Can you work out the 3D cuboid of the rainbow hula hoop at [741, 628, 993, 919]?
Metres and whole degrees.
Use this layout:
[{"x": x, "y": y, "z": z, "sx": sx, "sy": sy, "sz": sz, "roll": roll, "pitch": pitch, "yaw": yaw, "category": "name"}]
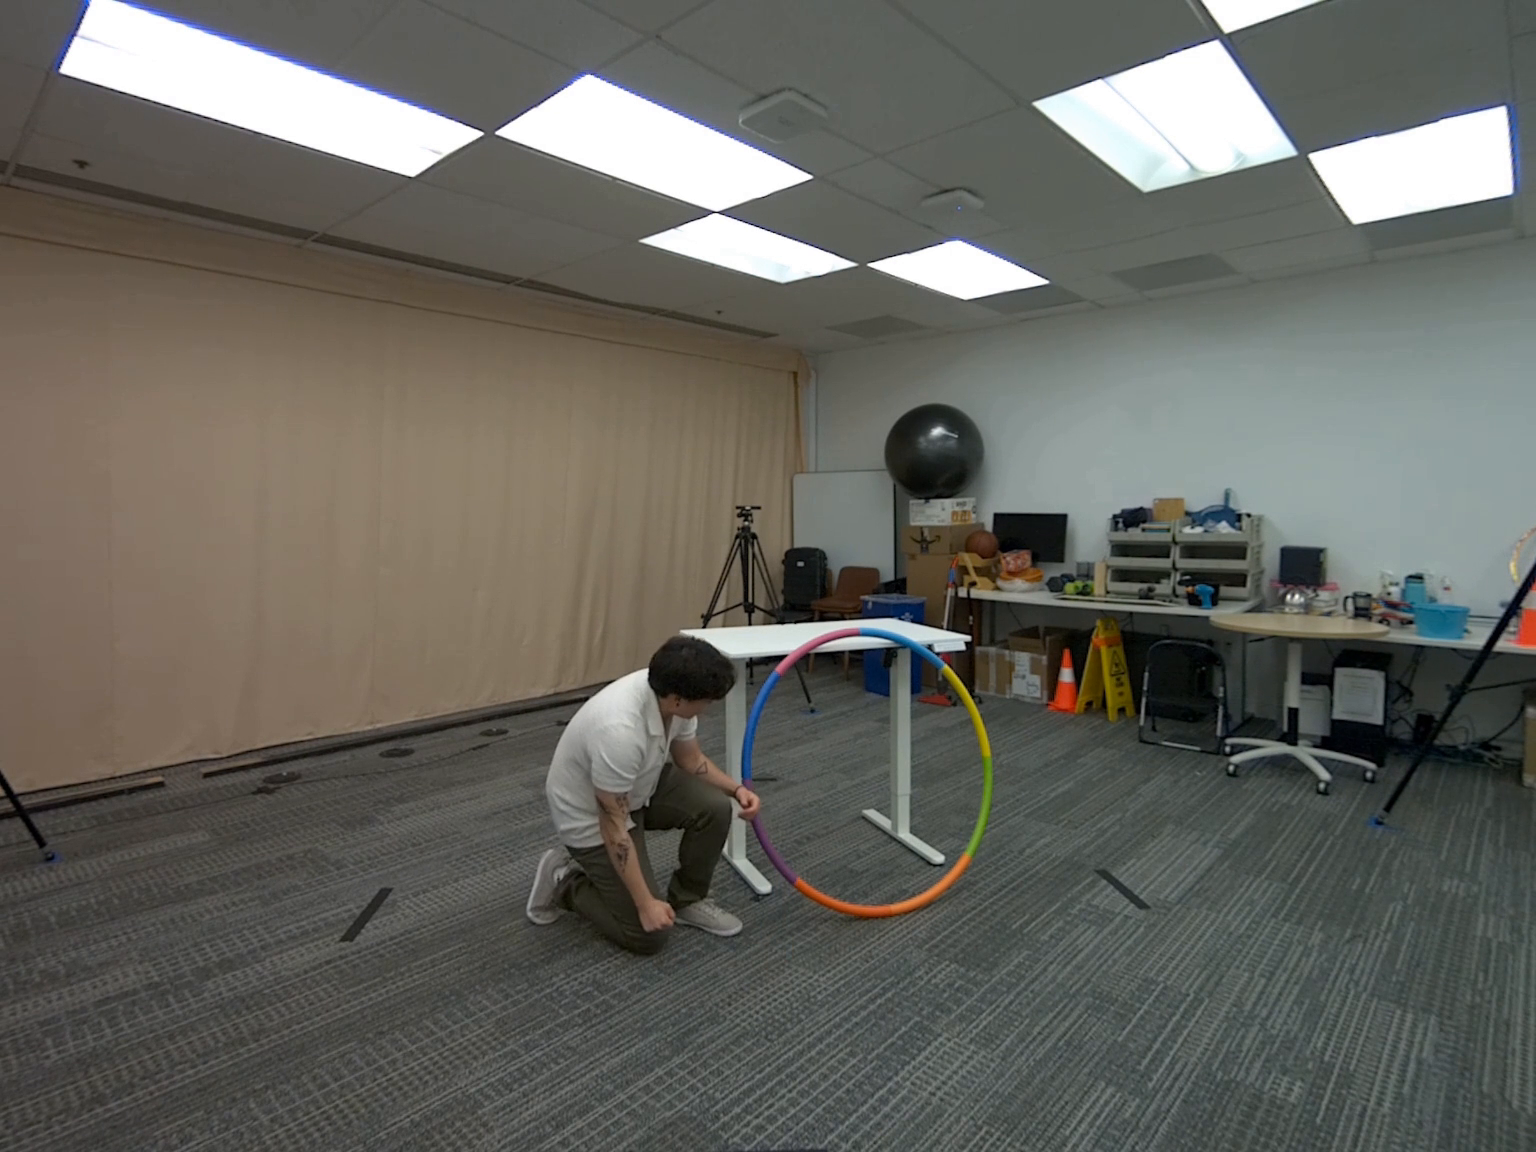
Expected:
[{"x": 0.388, "y": 0.679, "z": 2.959, "sx": 0.959, "sy": 0.988, "sz": 0.036, "roll": -2, "pitch": -14, "yaw": -20, "category": "rainbow hula hoop"}]
